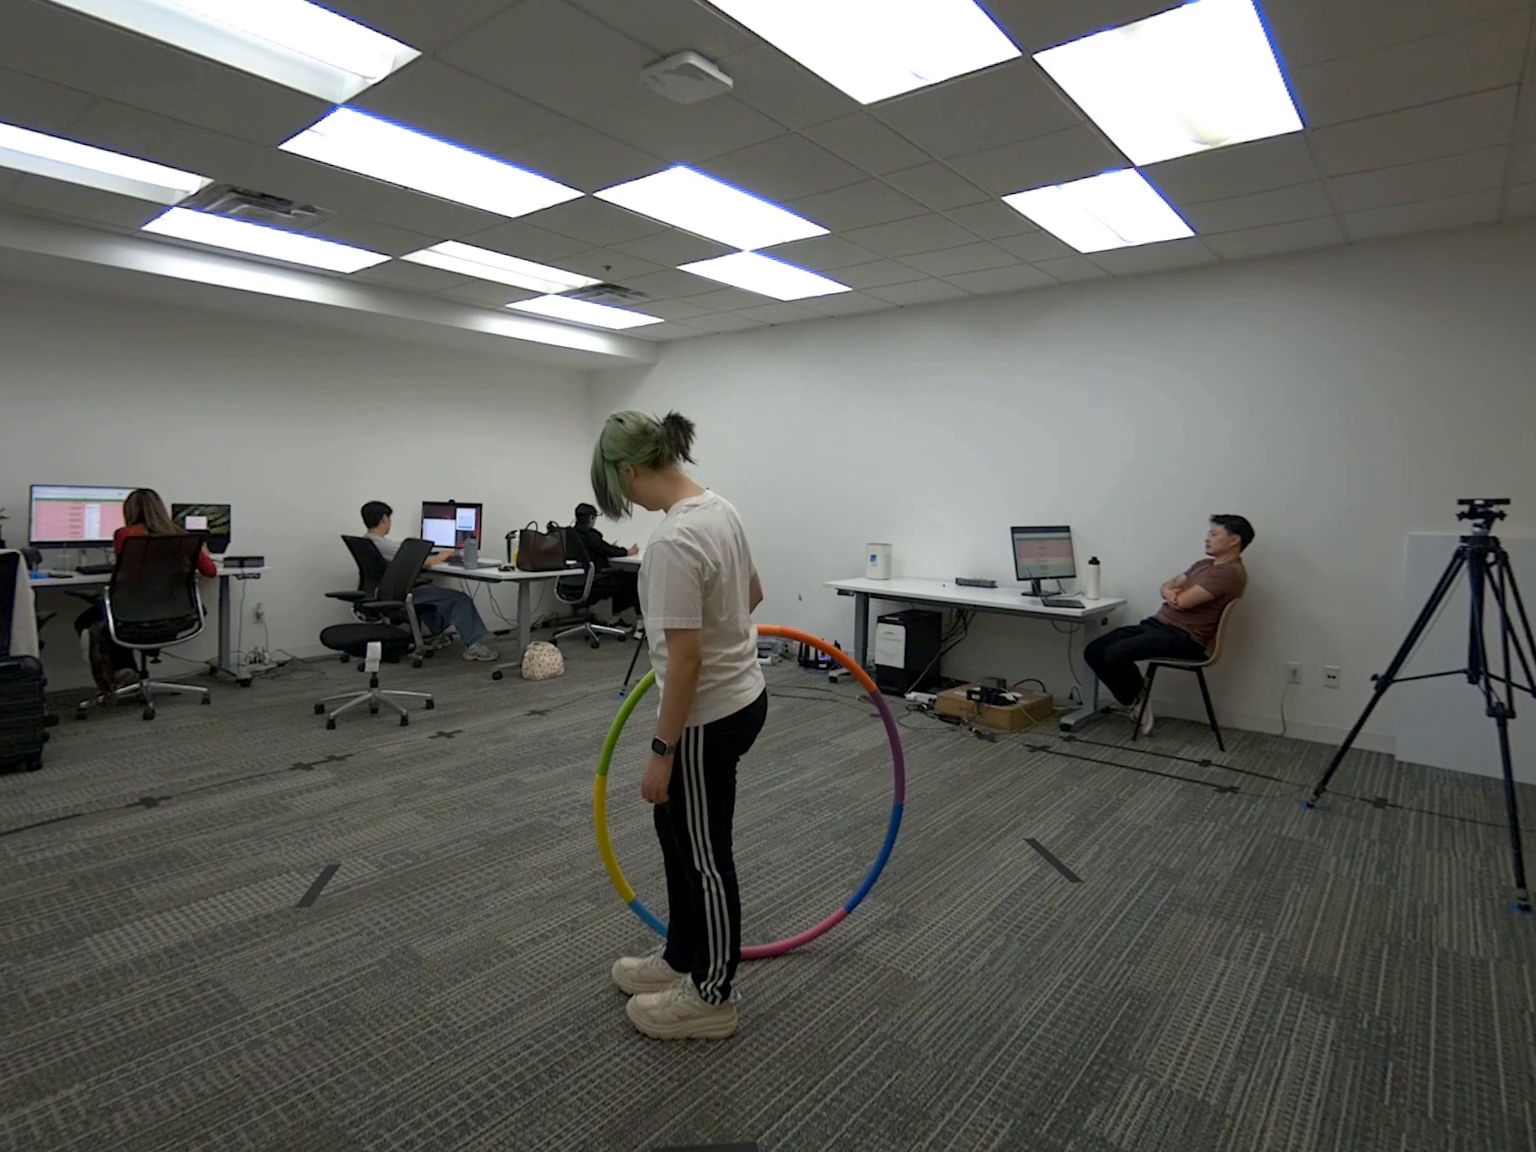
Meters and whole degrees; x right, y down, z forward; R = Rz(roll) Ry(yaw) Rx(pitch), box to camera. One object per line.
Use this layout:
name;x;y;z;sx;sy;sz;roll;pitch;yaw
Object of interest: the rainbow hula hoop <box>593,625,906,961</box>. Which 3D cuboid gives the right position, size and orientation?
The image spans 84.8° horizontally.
rainbow hula hoop;-0.039;0.641;2.578;0.963;0.985;0.036;-1;-6;-15
